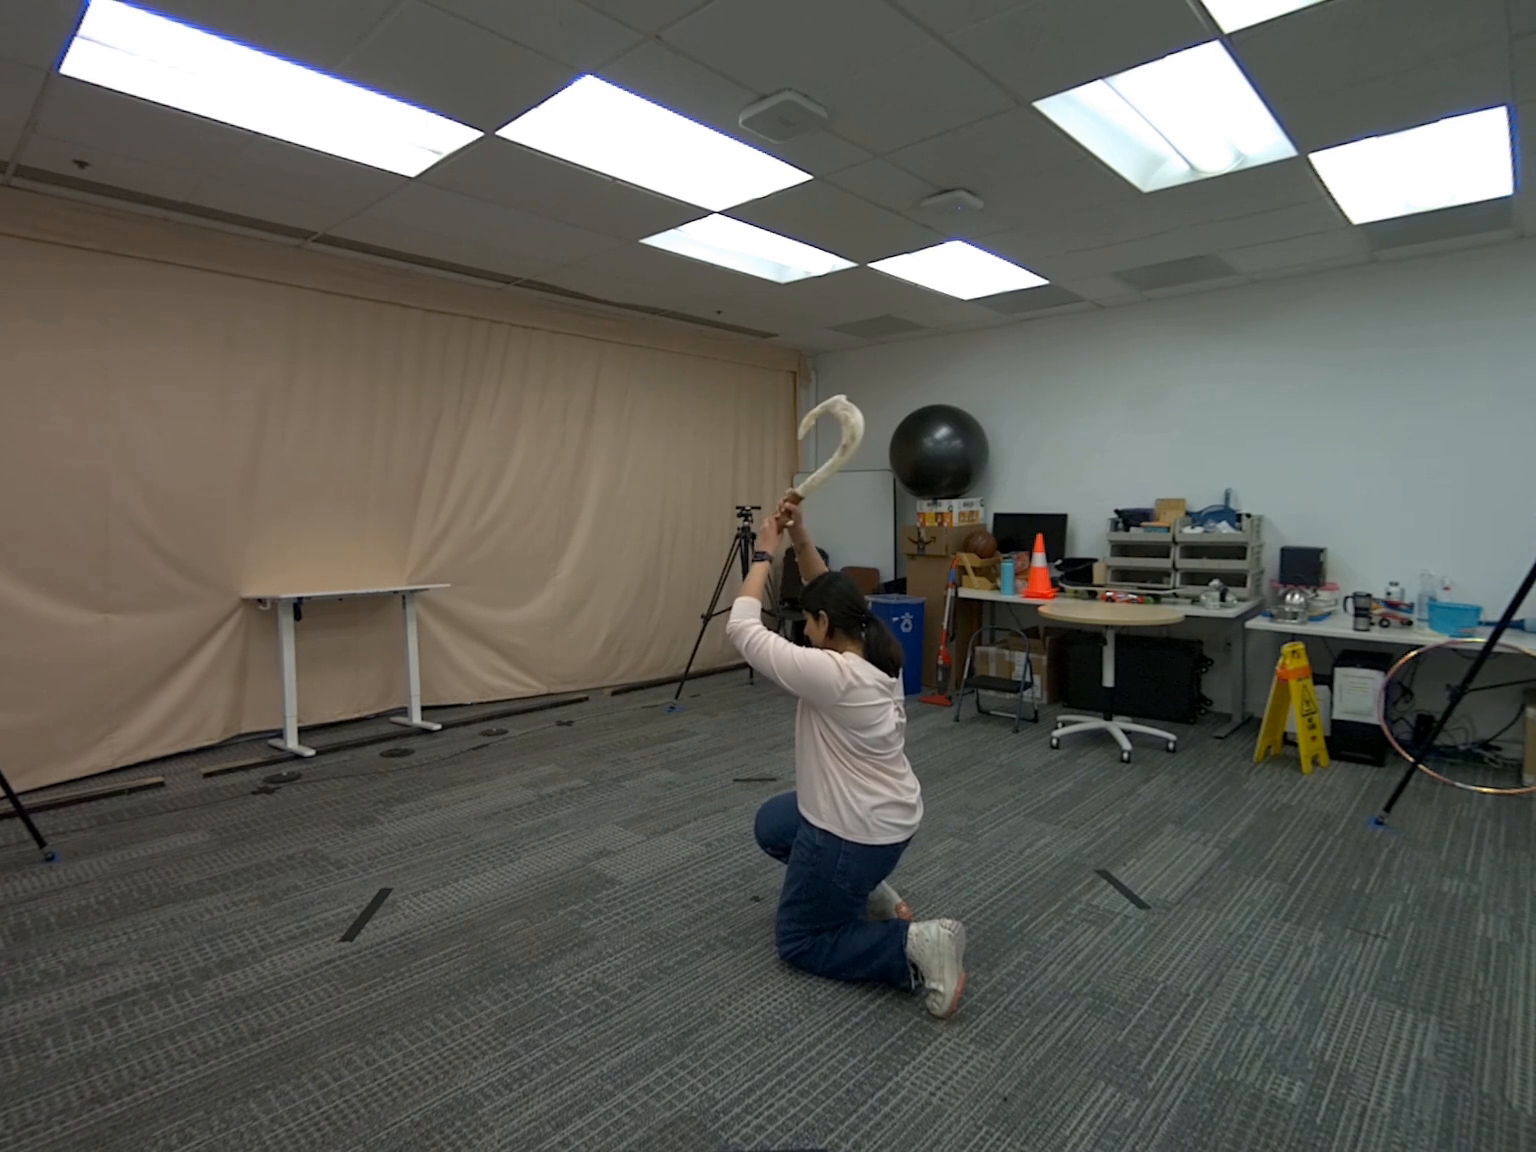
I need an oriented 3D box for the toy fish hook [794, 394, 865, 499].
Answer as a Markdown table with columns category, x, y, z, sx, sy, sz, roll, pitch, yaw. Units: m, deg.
| category | x | y | z | sx | sy | sz | roll | pitch | yaw |
| --- | --- | --- | --- | --- | --- | --- | --- | --- | --- |
| toy fish hook | 0.104 | -0.305 | 2.570 | 0.046 | 0.508 | 0.232 | 13 | 34 | -45 |
